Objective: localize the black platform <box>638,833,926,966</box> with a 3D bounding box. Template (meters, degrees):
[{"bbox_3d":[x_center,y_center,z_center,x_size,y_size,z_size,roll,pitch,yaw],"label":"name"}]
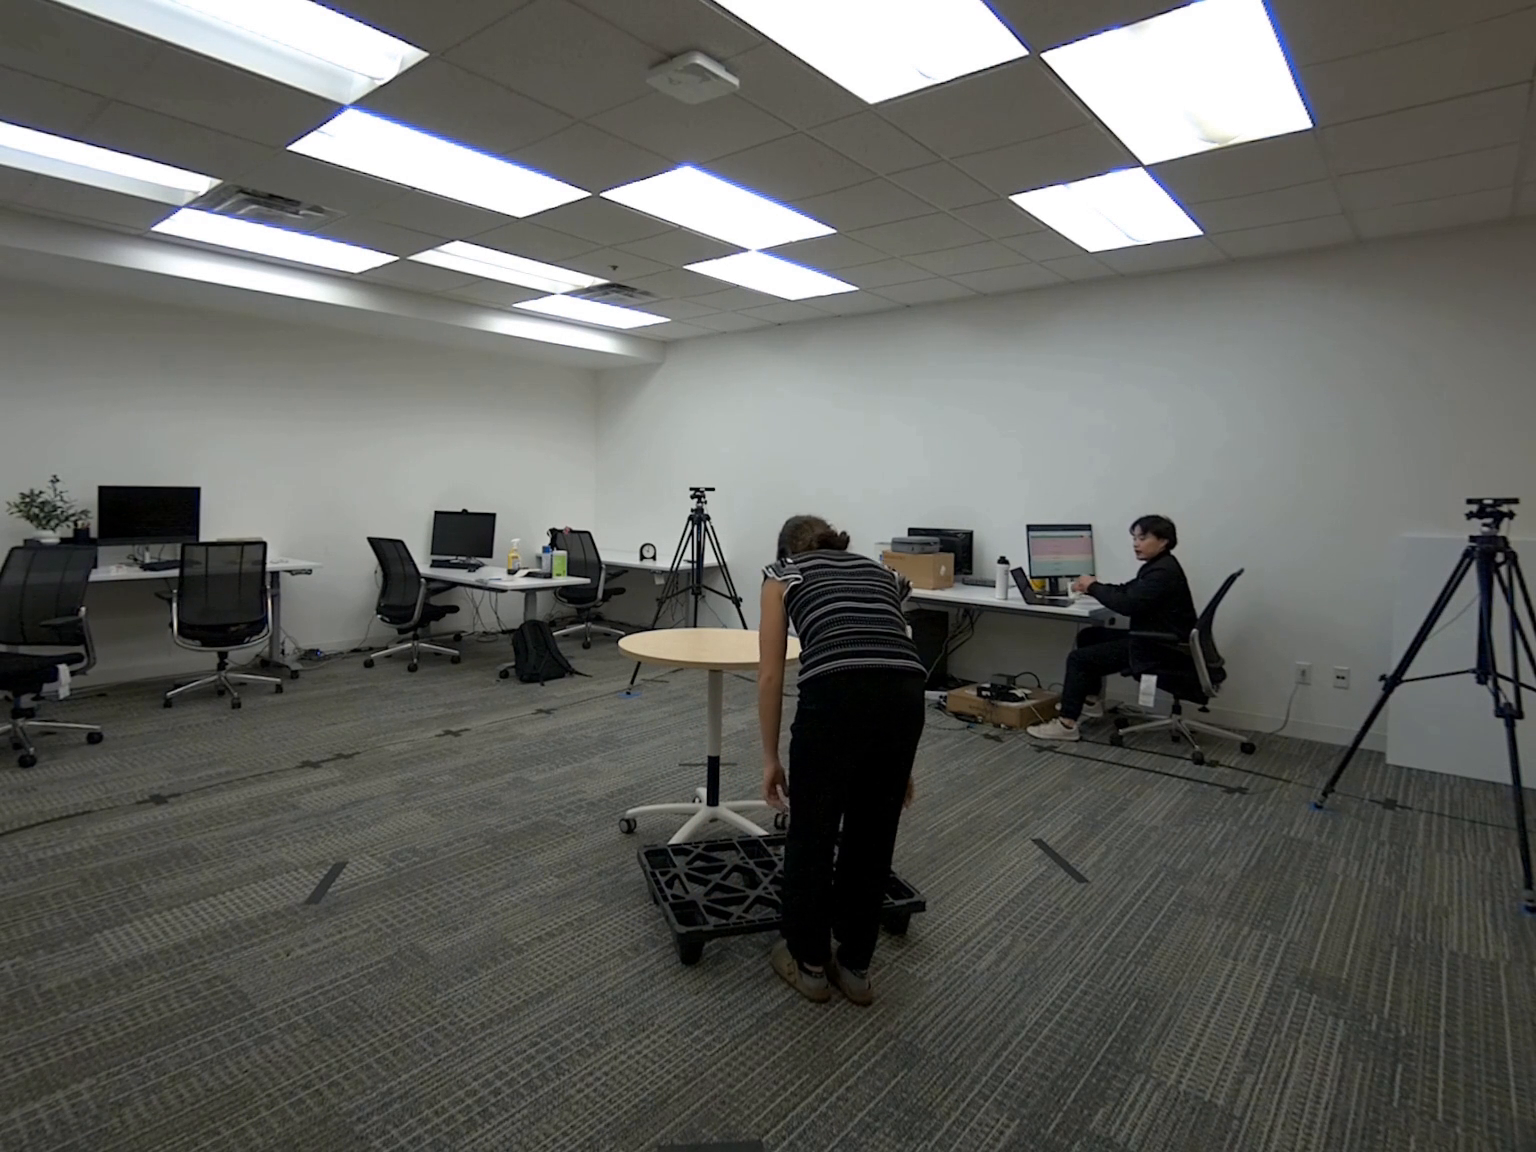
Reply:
[{"bbox_3d":[0.000,1.034,2.799,0.791,0.143,0.618,0,5,-18],"label":"black platform"}]
